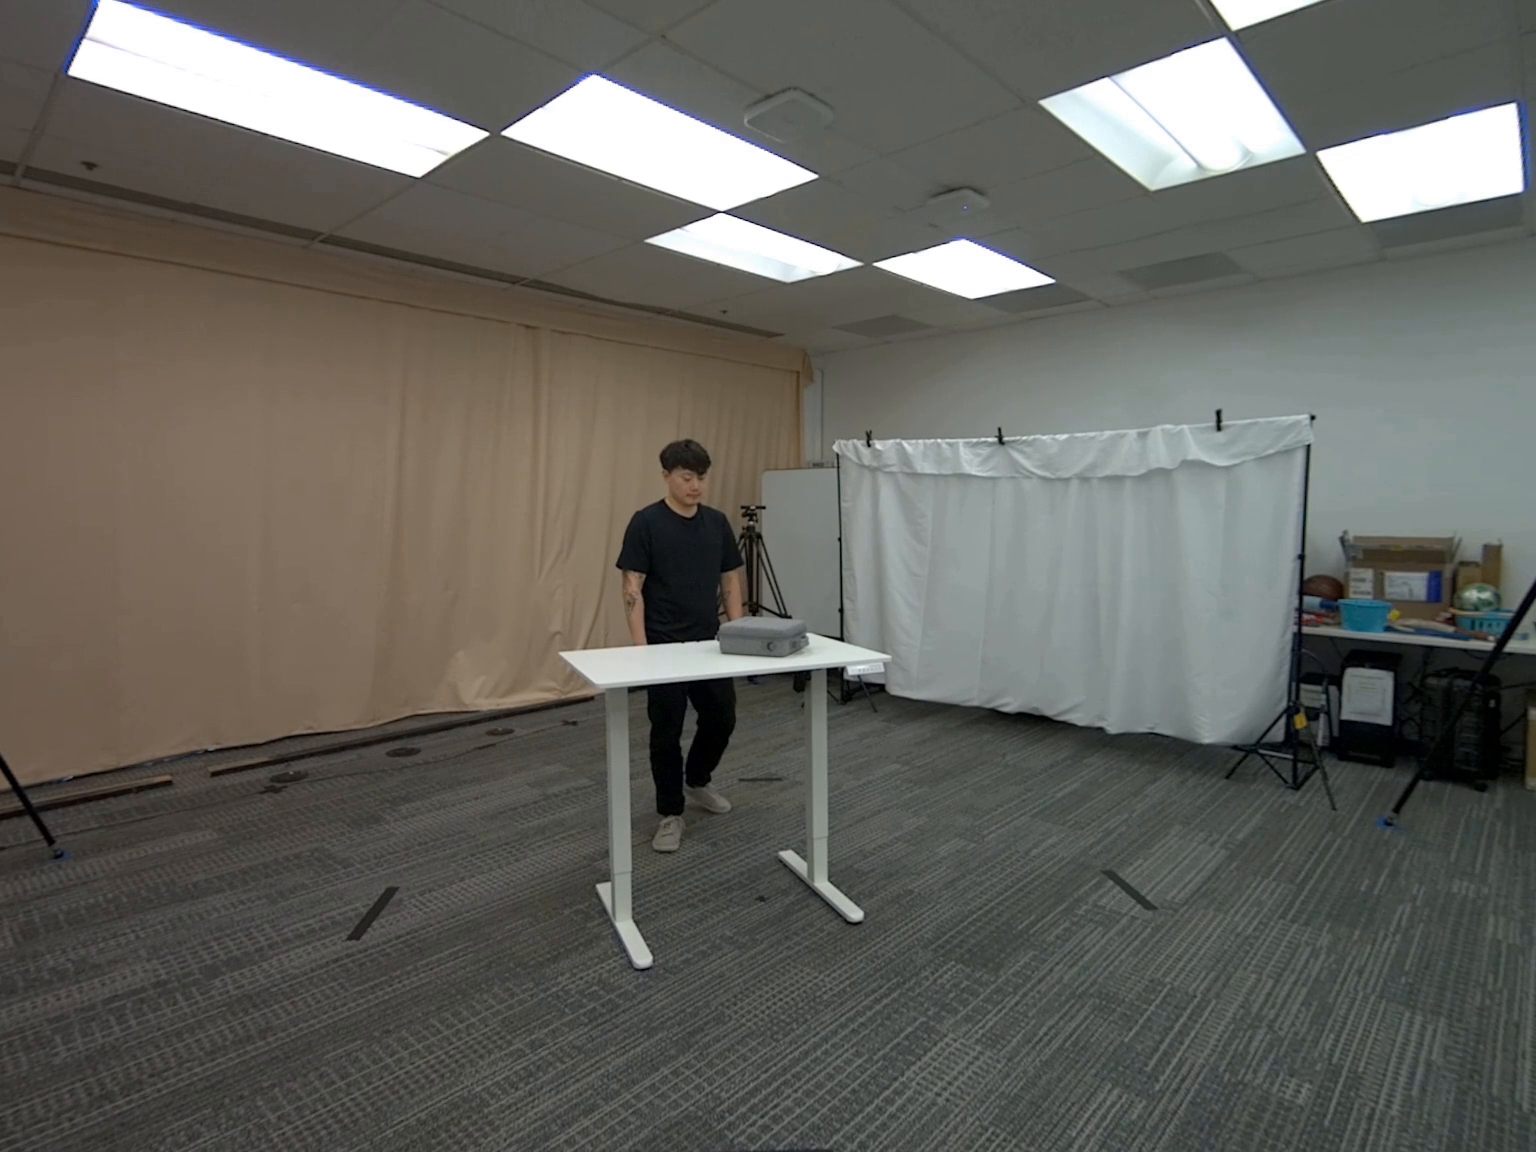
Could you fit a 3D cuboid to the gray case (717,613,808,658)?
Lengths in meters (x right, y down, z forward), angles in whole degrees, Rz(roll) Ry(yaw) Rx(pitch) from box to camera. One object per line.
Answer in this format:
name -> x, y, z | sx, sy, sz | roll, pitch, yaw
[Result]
gray case -> -0.006, 0.209, 2.955 | 0.267, 0.104, 0.251 | 2, 4, 22
